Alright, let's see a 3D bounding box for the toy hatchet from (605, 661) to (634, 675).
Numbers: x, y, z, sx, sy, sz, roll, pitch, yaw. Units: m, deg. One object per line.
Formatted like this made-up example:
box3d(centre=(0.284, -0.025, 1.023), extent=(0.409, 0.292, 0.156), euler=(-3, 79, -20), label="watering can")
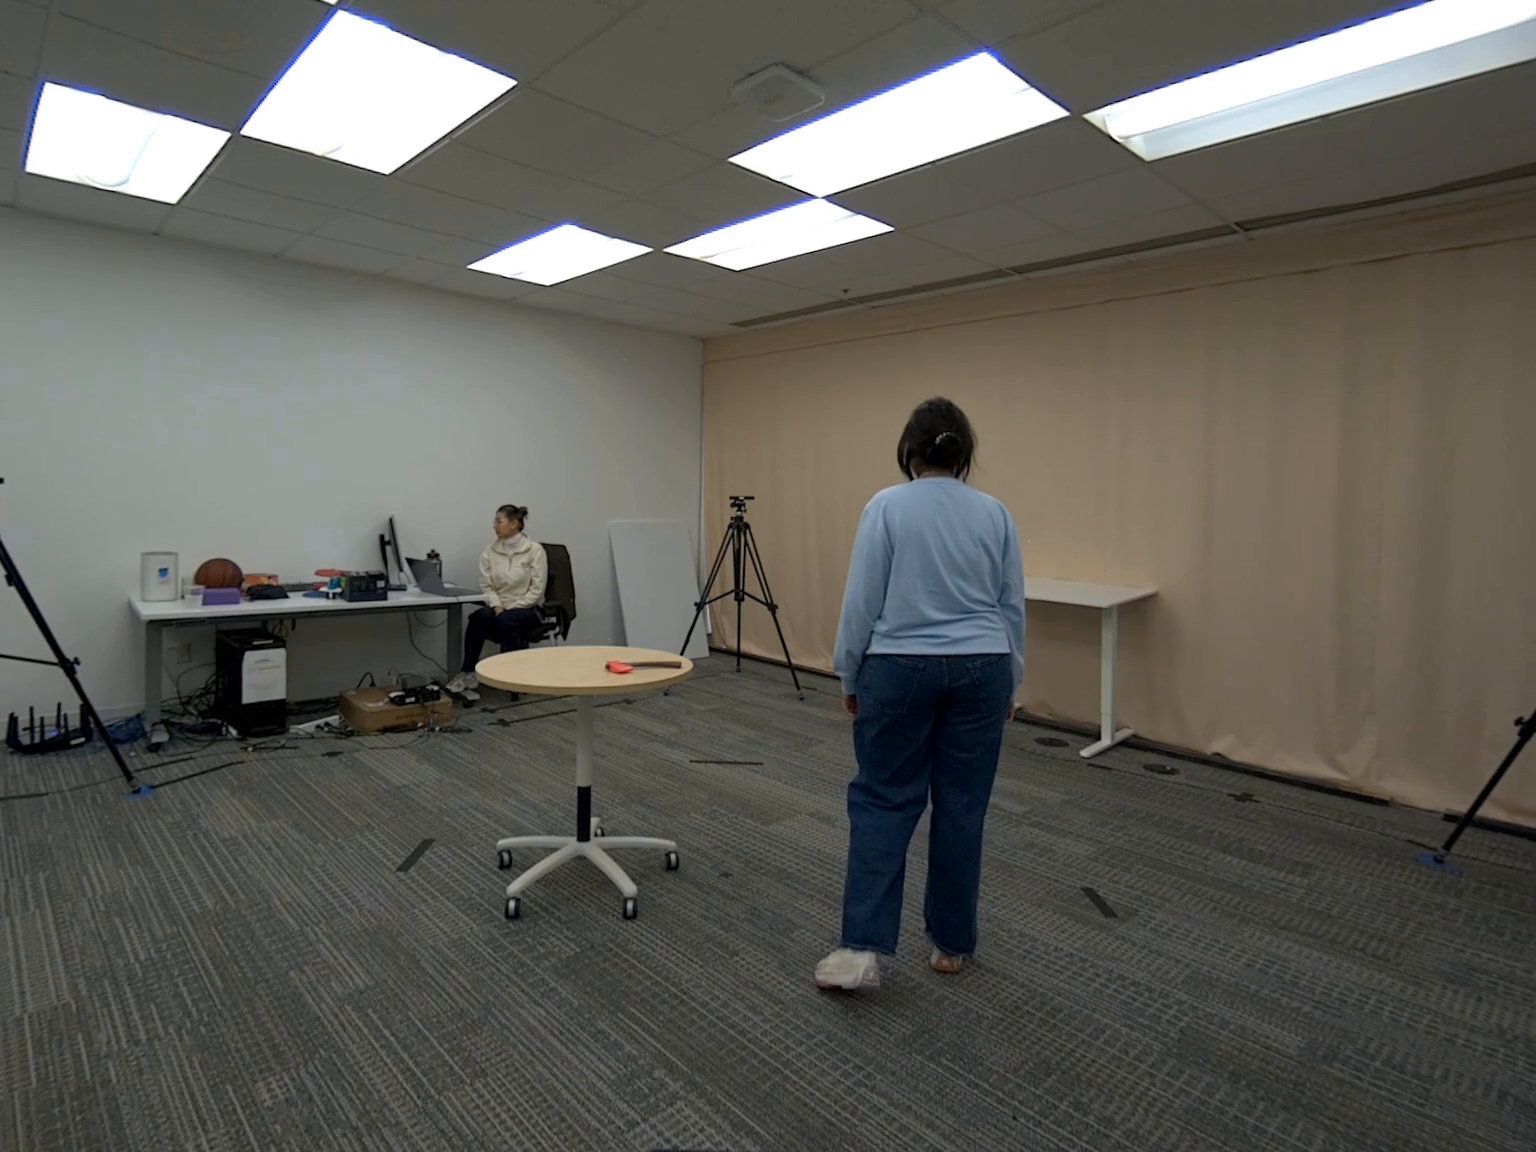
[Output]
box3d(centre=(-0.432, 0.318, 2.904), extent=(0.268, 0.029, 0.132), euler=(2, 5, -8), label="toy hatchet")
